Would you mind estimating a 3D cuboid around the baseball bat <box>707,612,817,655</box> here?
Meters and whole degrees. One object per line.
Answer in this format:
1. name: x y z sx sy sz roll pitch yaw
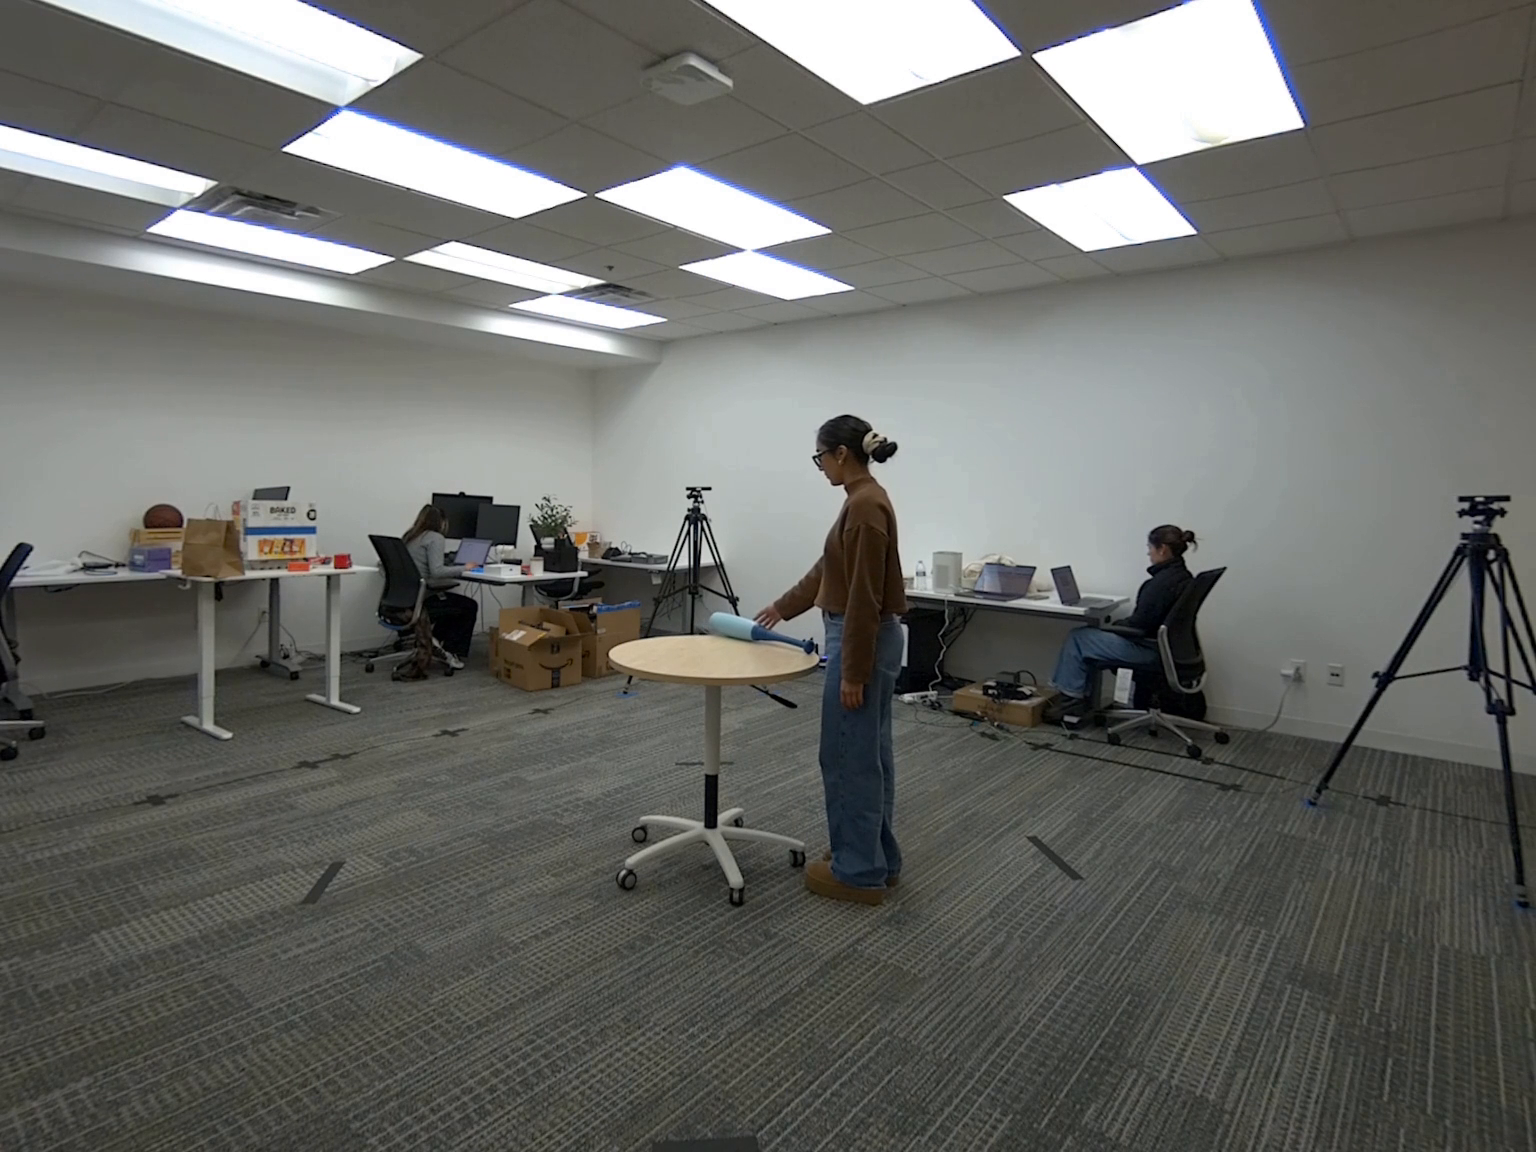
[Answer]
1. baseball bat: -0.038 0.228 3.348 0.086 0.088 0.563 -3 10 -43
